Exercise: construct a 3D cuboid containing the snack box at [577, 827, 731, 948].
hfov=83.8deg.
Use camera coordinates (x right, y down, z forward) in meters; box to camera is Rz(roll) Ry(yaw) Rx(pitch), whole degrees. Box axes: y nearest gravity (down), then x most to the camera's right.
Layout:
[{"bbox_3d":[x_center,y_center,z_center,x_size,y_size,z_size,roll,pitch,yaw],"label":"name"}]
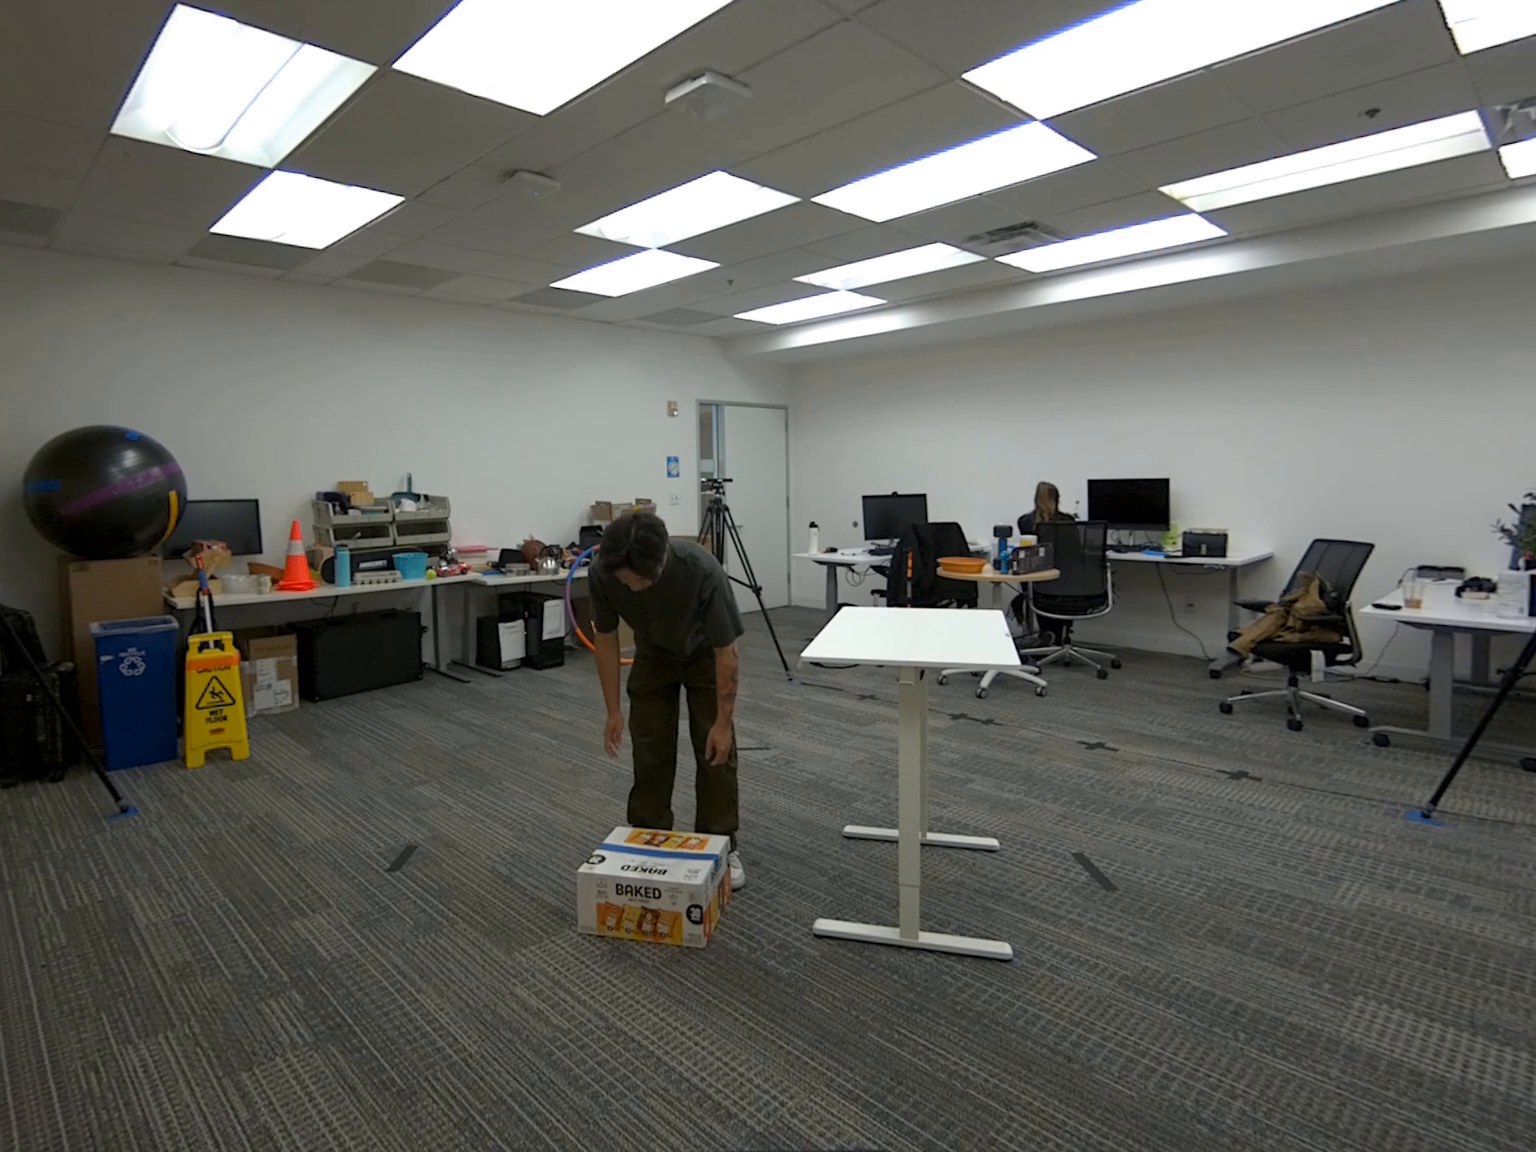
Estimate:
[{"bbox_3d":[-0.357,0.994,2.749,0.411,0.205,0.337,0,6,13],"label":"snack box"}]
